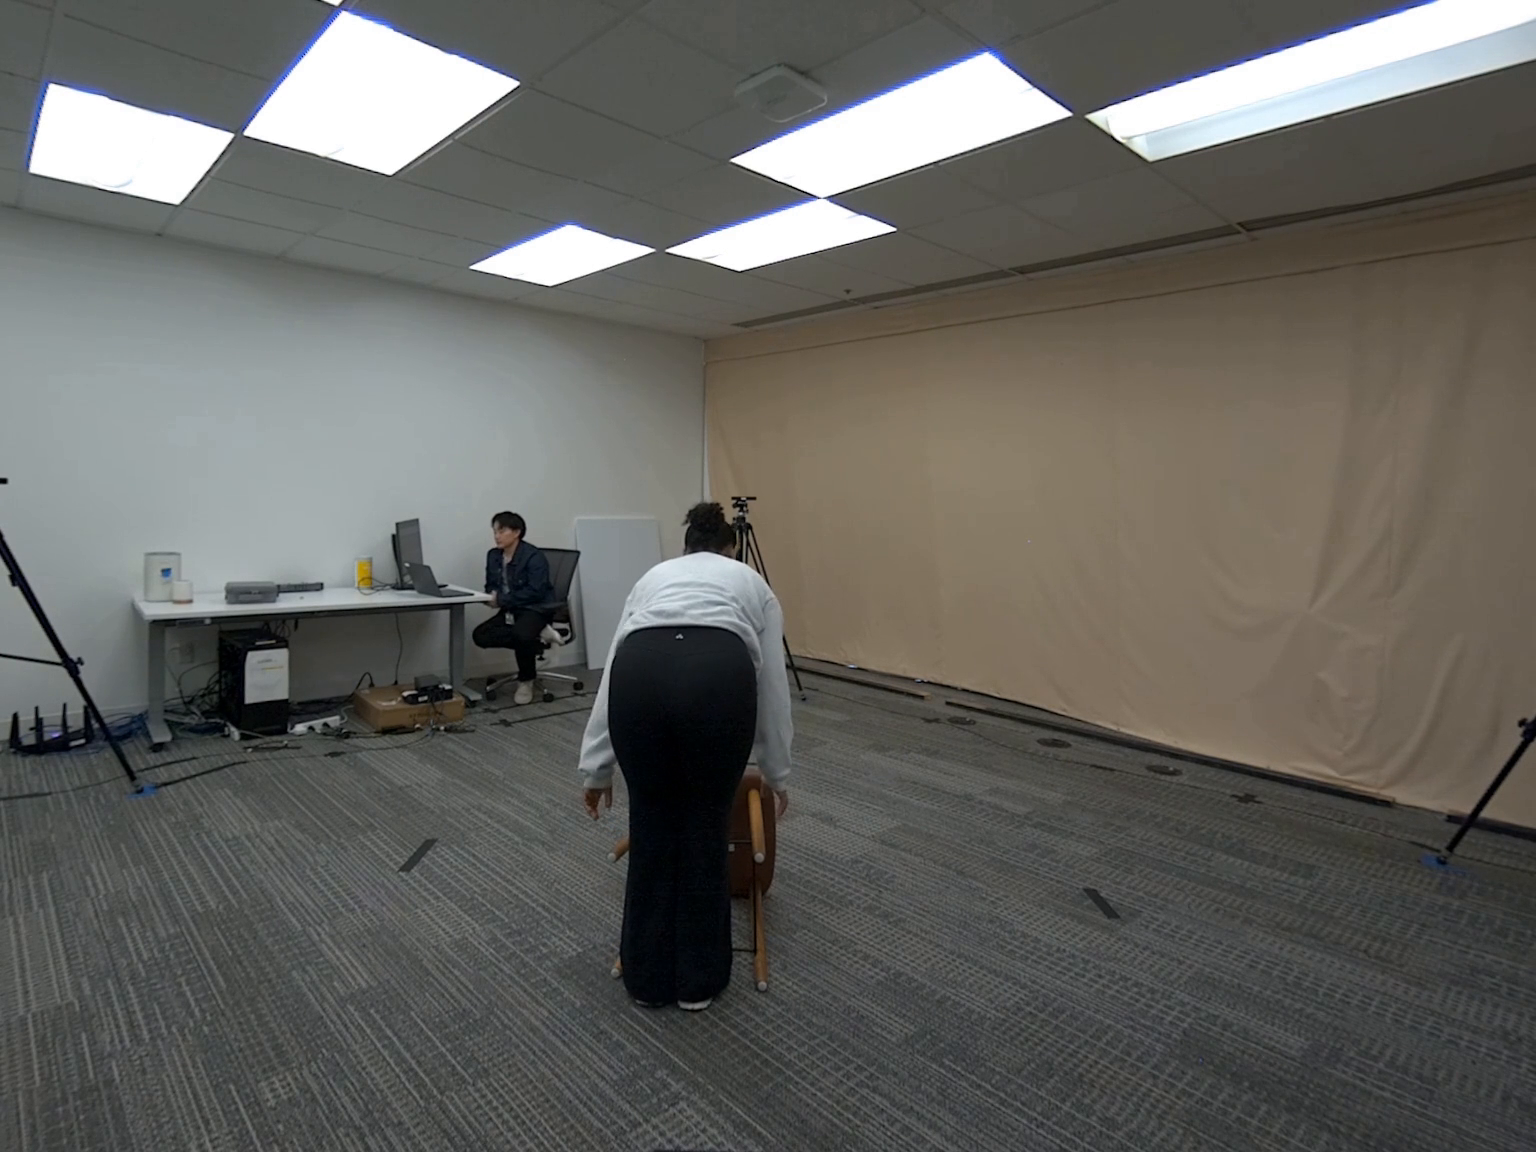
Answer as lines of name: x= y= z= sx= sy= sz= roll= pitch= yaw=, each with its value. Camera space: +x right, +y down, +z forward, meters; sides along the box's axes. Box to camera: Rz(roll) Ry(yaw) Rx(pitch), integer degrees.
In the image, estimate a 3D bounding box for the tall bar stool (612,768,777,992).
tall bar stool: x=-0.213 y=0.923 z=2.811 sx=0.469 sy=0.454 sz=0.891 roll=-1 pitch=7 yaw=3
